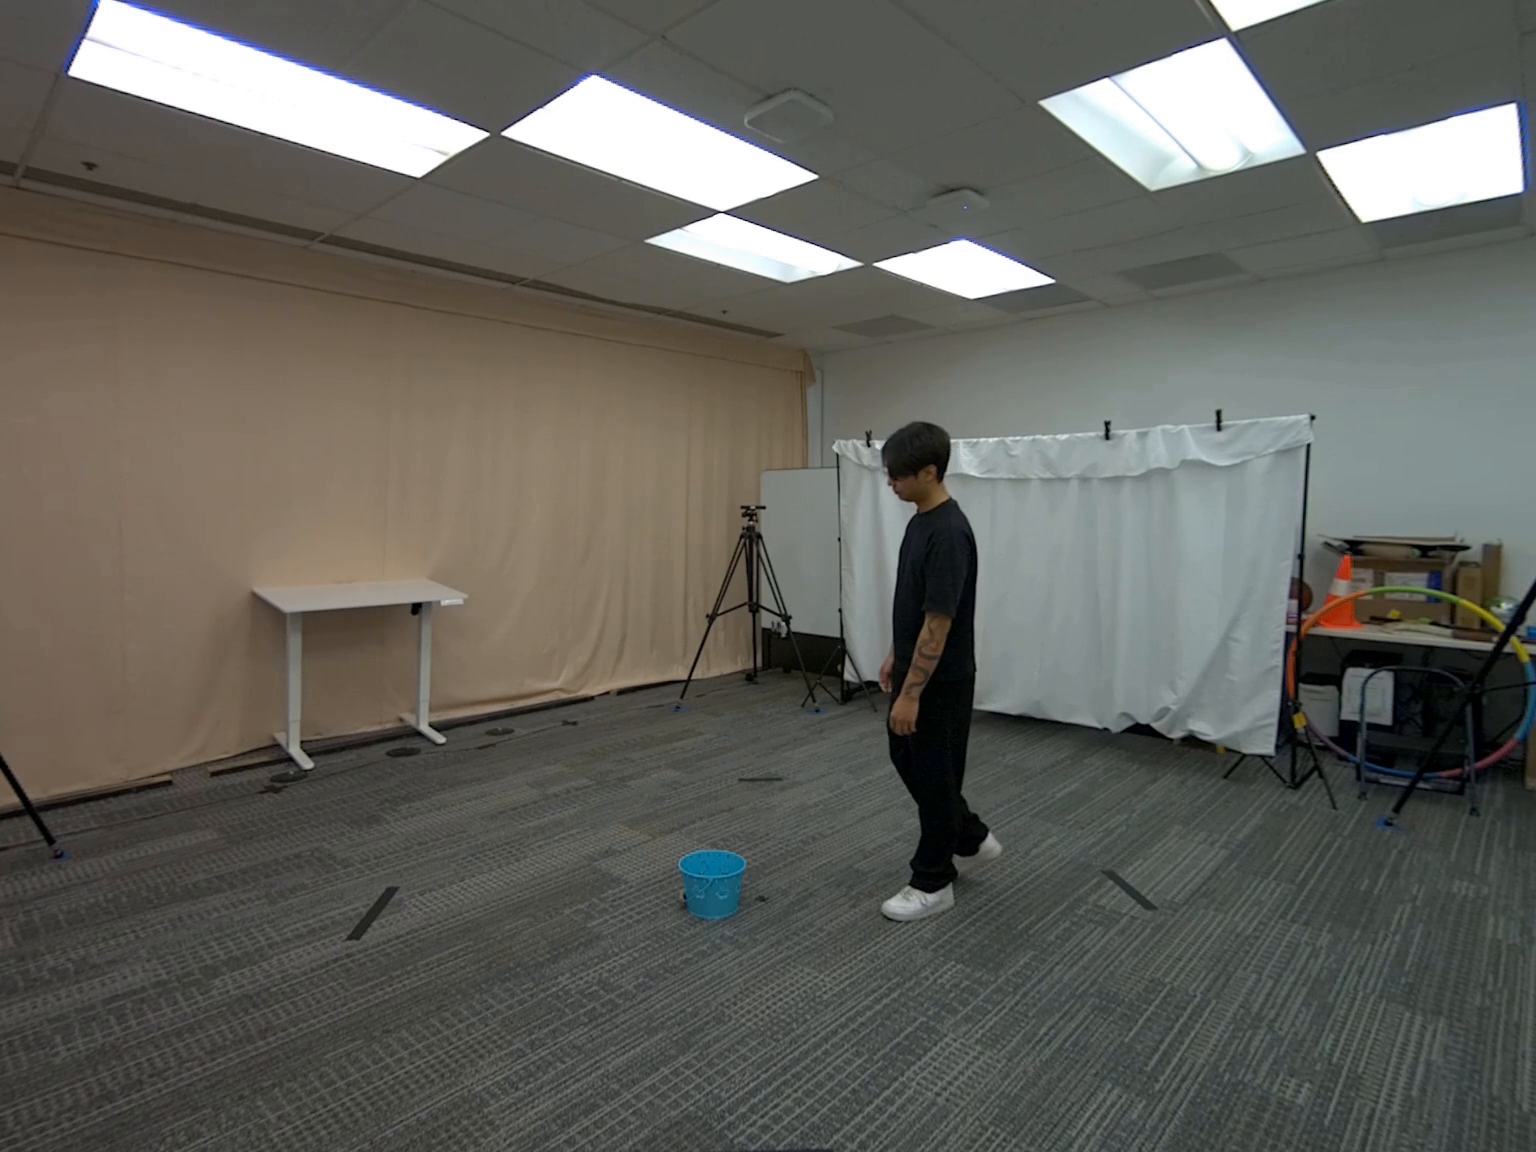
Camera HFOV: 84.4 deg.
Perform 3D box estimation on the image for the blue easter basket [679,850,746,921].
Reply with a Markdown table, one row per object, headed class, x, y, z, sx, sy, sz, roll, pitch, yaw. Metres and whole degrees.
| class | x | y | z | sx | sy | sz | roll | pitch | yaw |
| --- | --- | --- | --- | --- | --- | --- | --- | --- | --- |
| blue easter basket | -0.197 | 1.072 | 2.933 | 0.243 | 0.155 | 0.244 | -1 | 4 | -2 |
